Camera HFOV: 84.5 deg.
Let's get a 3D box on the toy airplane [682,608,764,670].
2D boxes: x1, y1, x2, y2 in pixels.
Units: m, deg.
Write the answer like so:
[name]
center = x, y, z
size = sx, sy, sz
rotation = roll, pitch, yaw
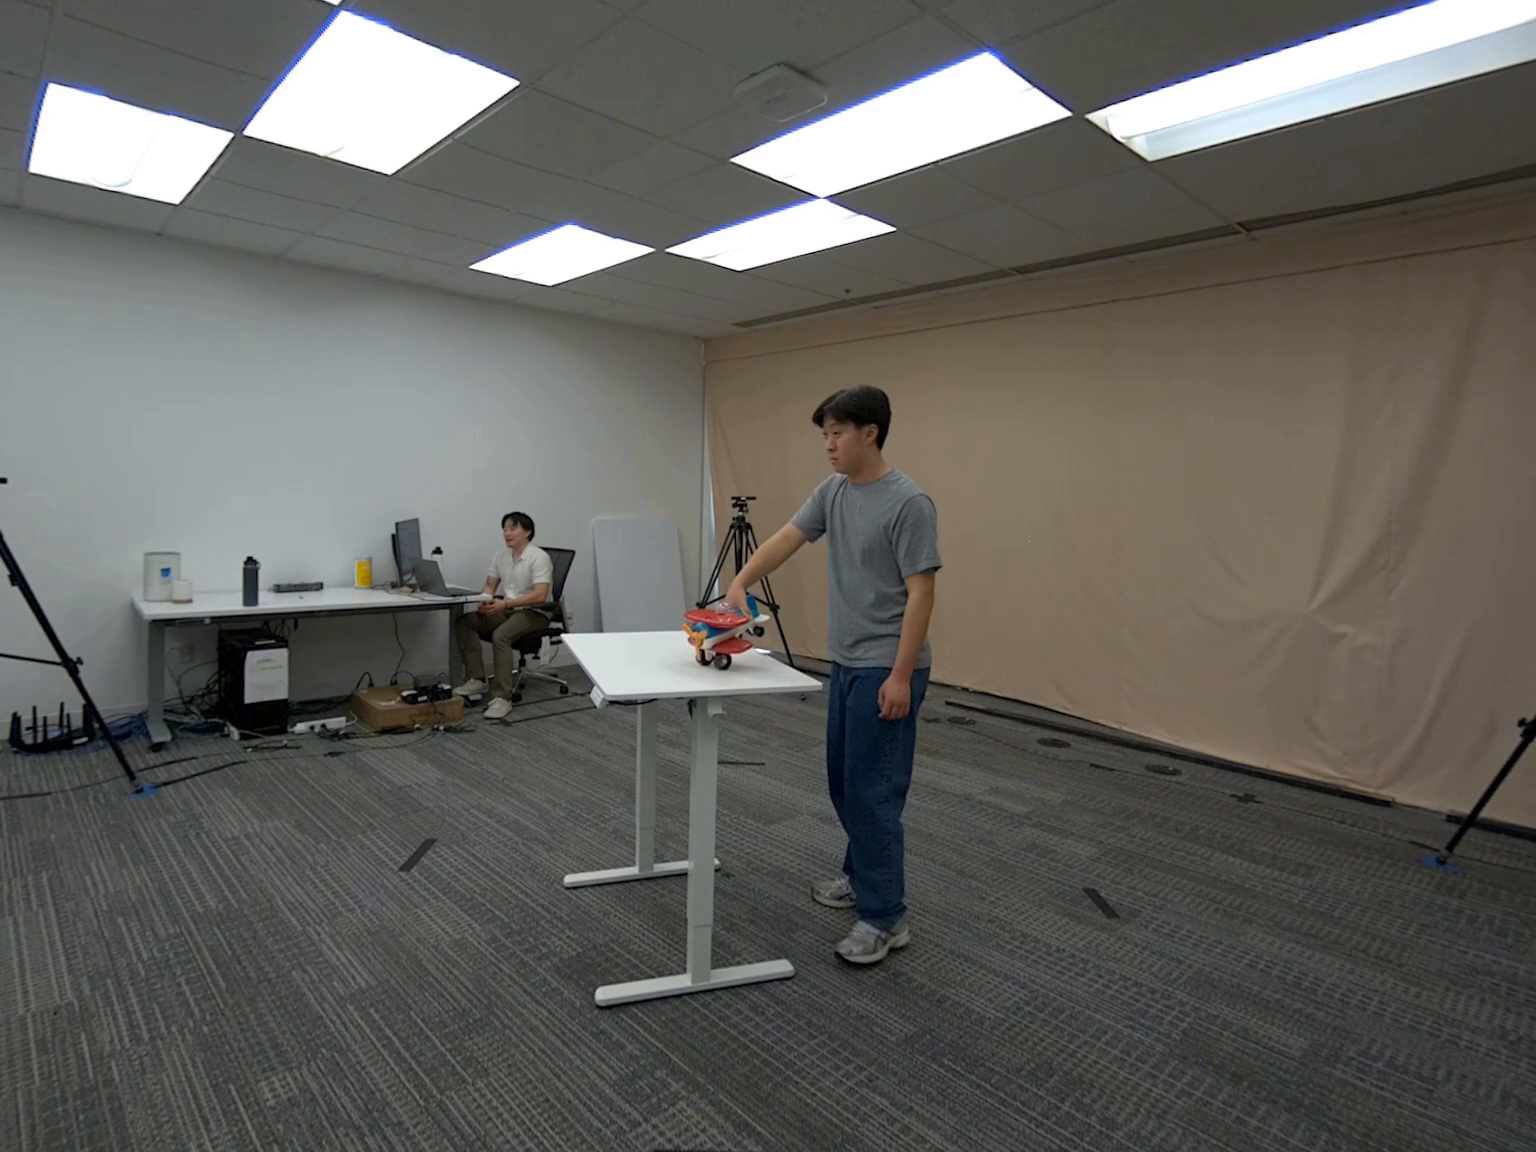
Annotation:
[toy airplane]
center = -0.135, 0.165, 2.554
size = 0.255, 0.153, 0.260
rotation = -9, 24, 25
